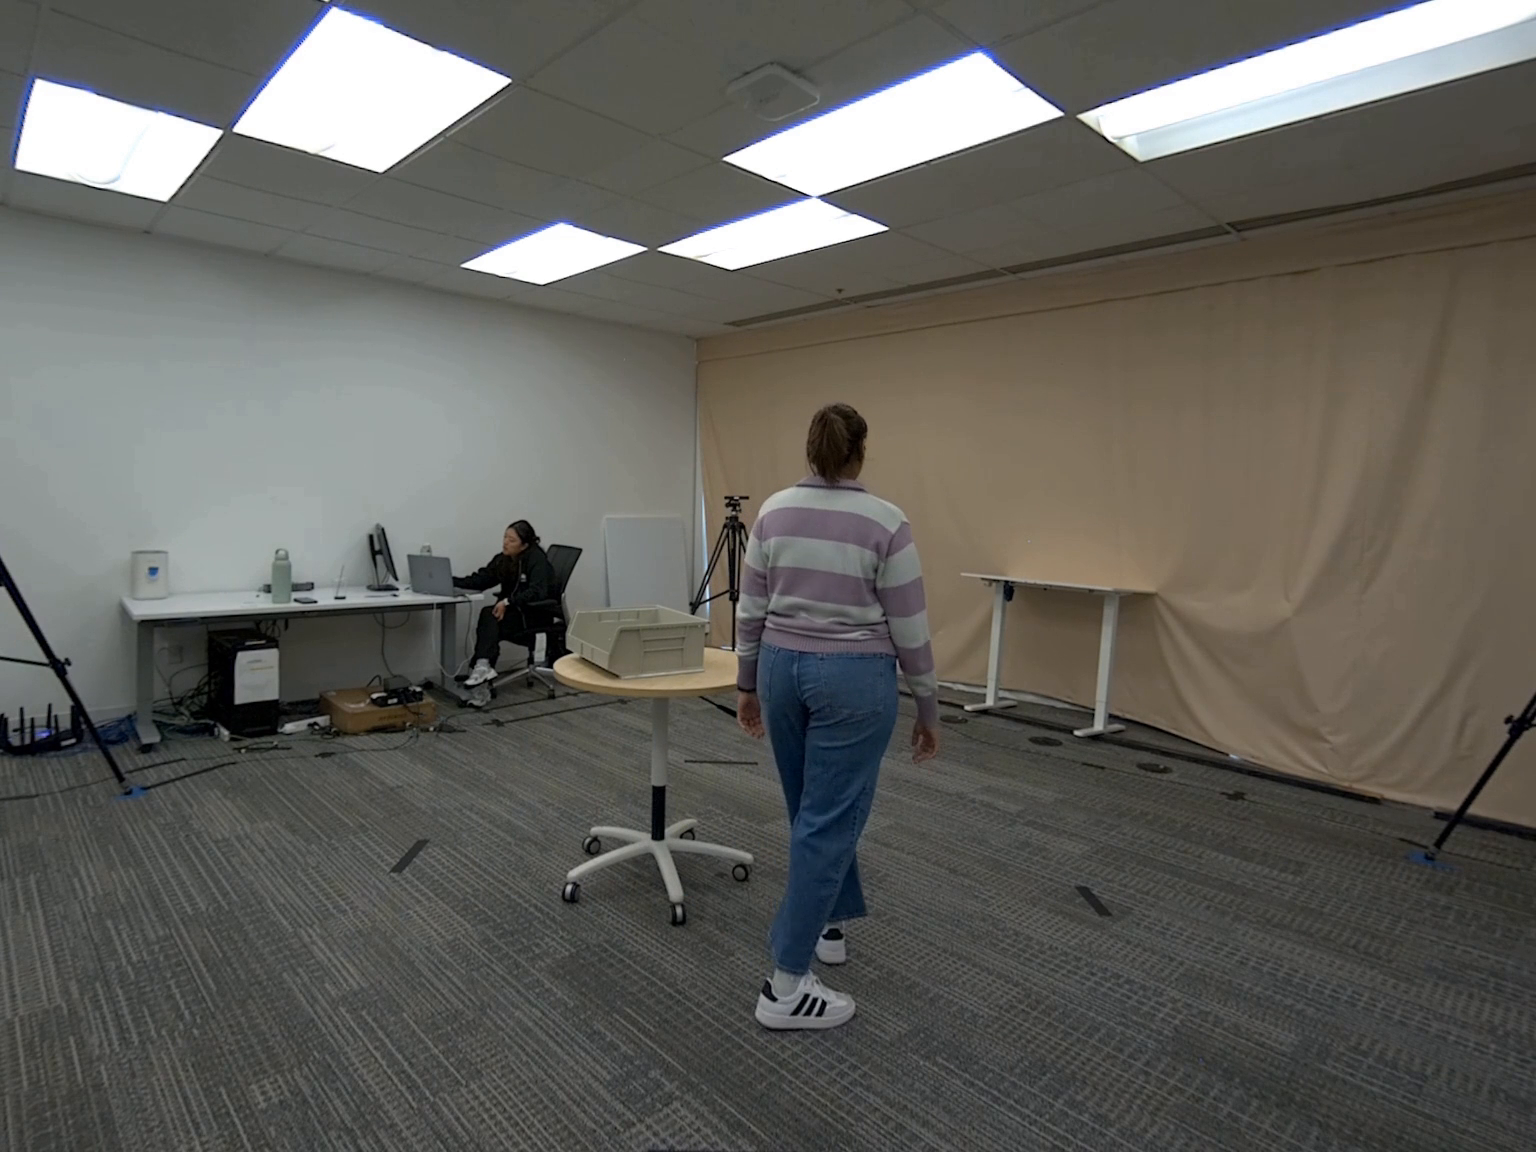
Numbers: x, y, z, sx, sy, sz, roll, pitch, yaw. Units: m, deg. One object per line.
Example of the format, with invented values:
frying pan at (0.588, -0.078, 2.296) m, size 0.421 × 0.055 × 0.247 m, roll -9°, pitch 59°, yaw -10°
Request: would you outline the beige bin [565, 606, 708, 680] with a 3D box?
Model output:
beige bin at (-0.480, 0.234, 3.014) m, size 0.369 × 0.188 × 0.432 m, roll 0°, pitch 5°, yaw -32°
